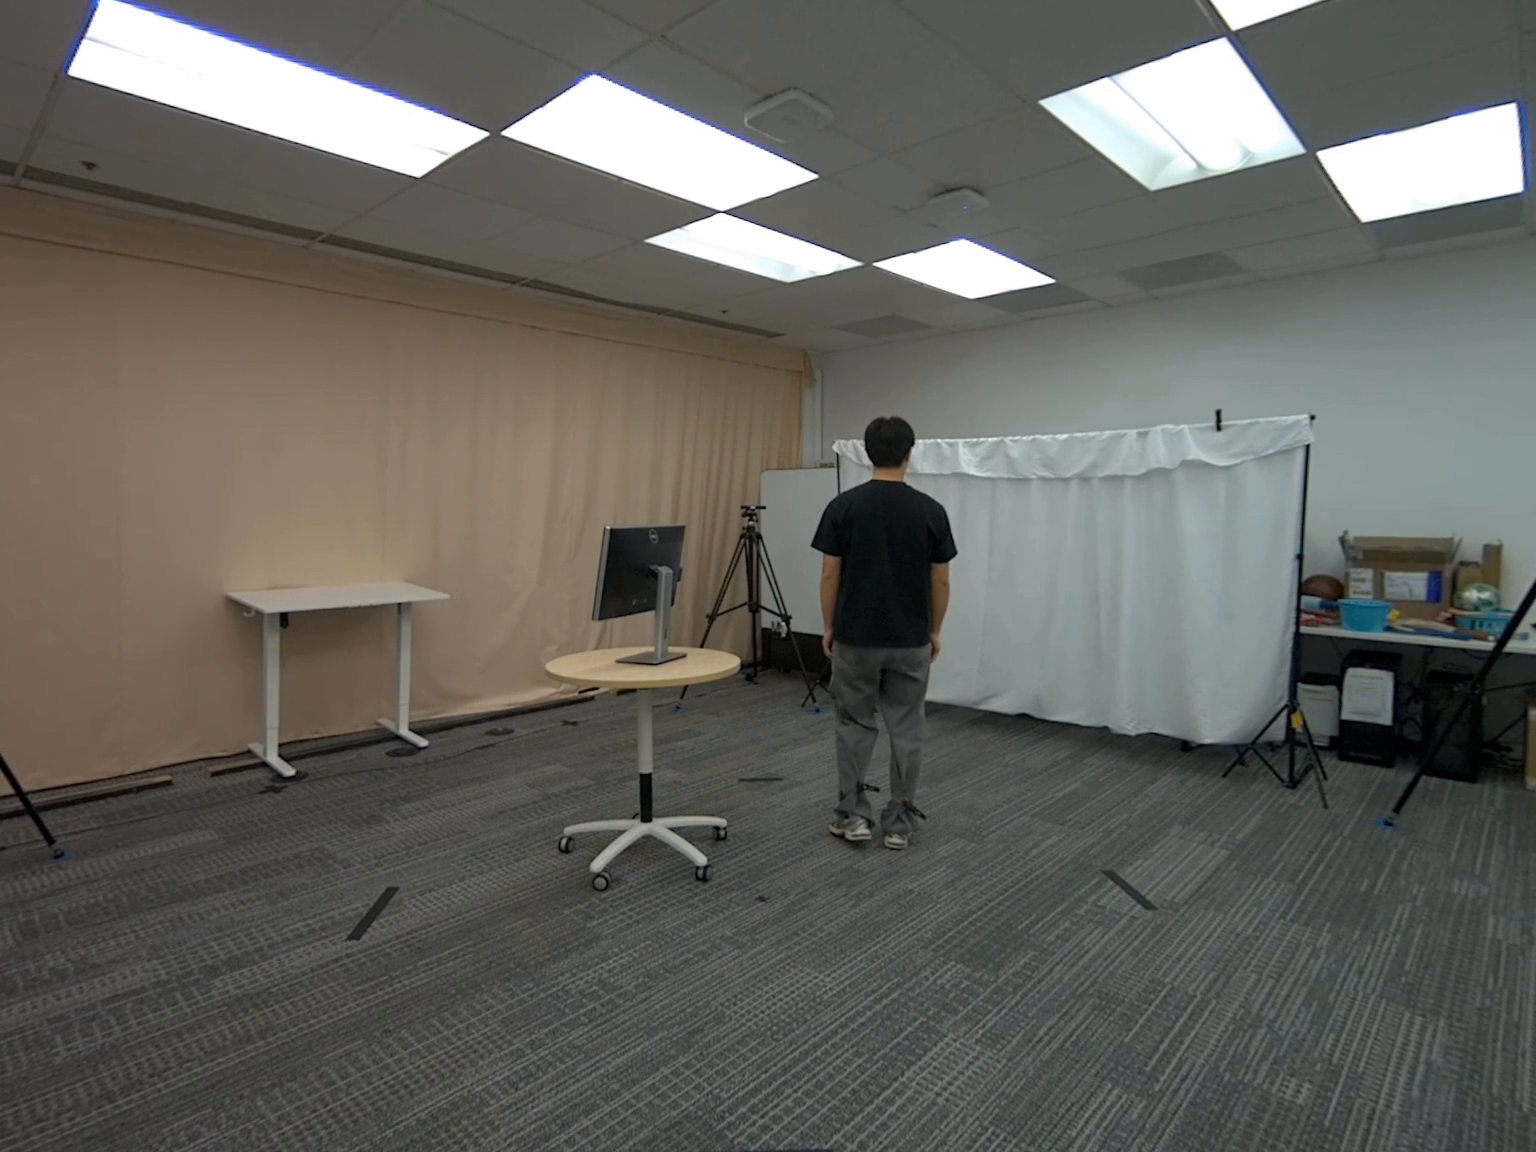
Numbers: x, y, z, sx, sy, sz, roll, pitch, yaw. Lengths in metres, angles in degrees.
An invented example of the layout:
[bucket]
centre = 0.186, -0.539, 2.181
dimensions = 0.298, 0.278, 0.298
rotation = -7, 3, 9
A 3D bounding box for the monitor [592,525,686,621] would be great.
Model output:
[monitor]
centre = -0.476, 0.078, 3.379
dimensions = 0.228, 0.565, 0.547
rotation = -3, 2, 30
